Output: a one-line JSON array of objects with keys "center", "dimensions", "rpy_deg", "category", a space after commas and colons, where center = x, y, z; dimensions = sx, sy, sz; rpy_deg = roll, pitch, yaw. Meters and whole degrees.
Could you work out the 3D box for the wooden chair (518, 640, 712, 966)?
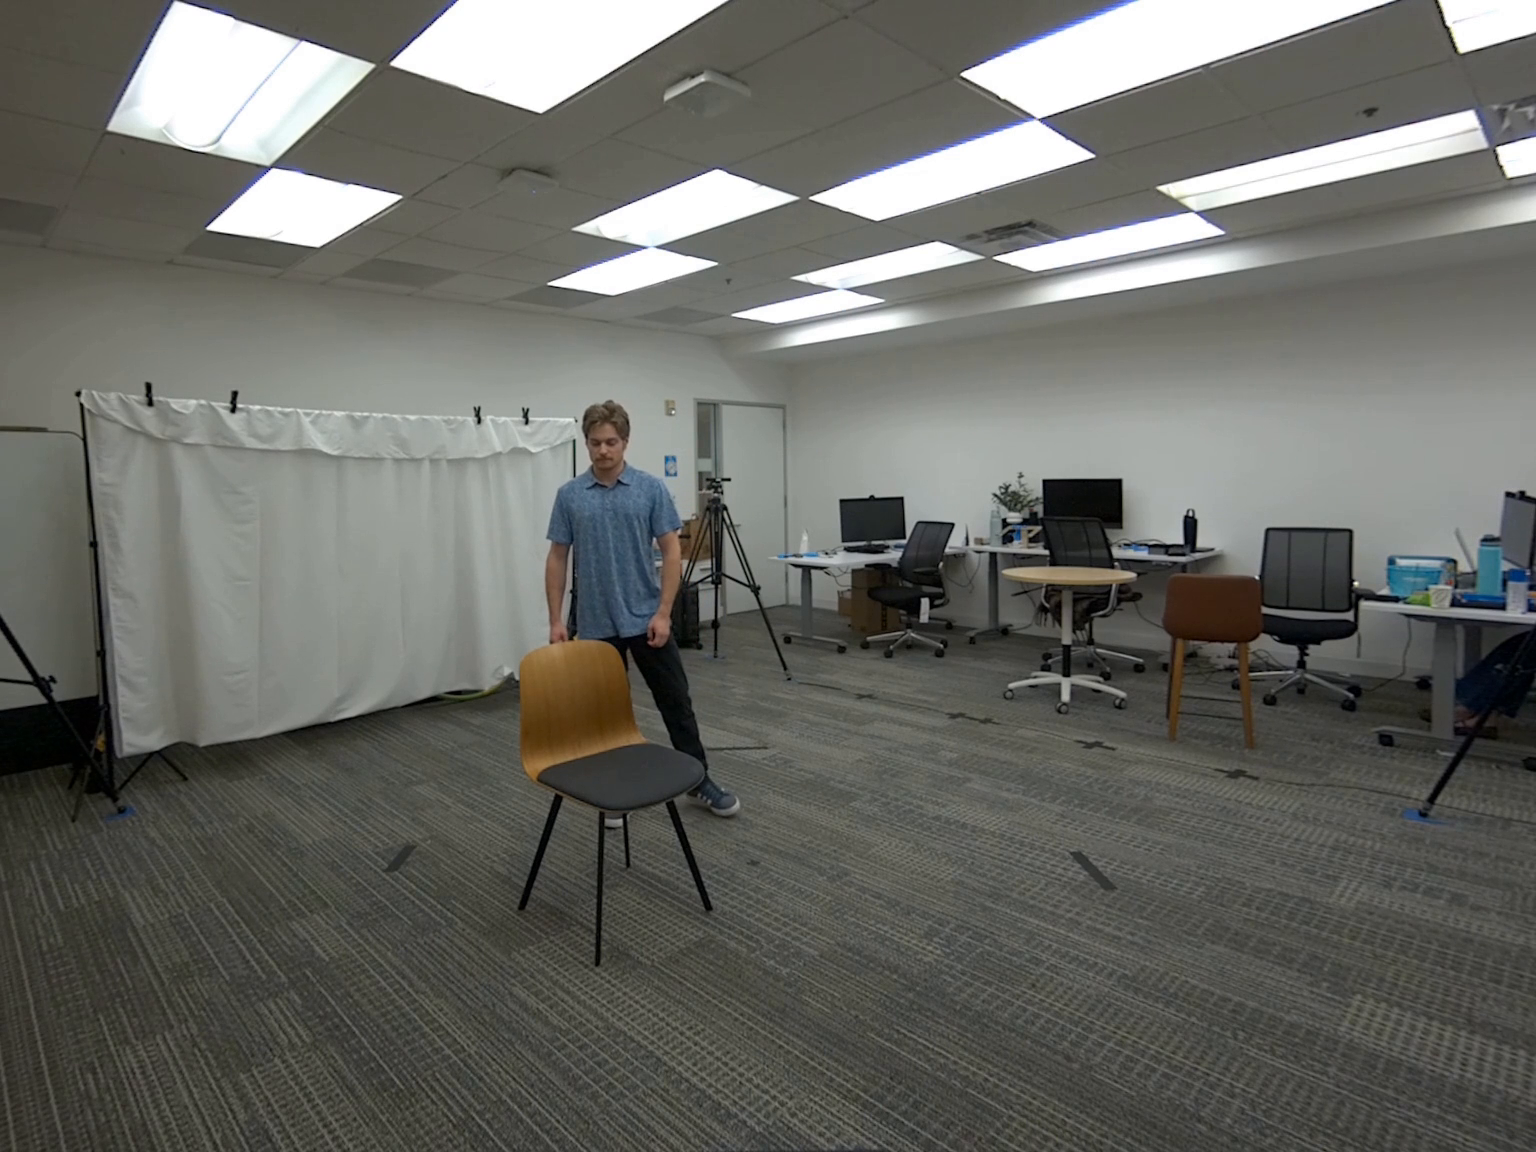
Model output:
[{"center": [-0.500, 0.669, 2.741], "dimensions": [0.465, 0.877, 0.538], "rpy_deg": [-5, 2, -44], "category": "wooden chair"}]
